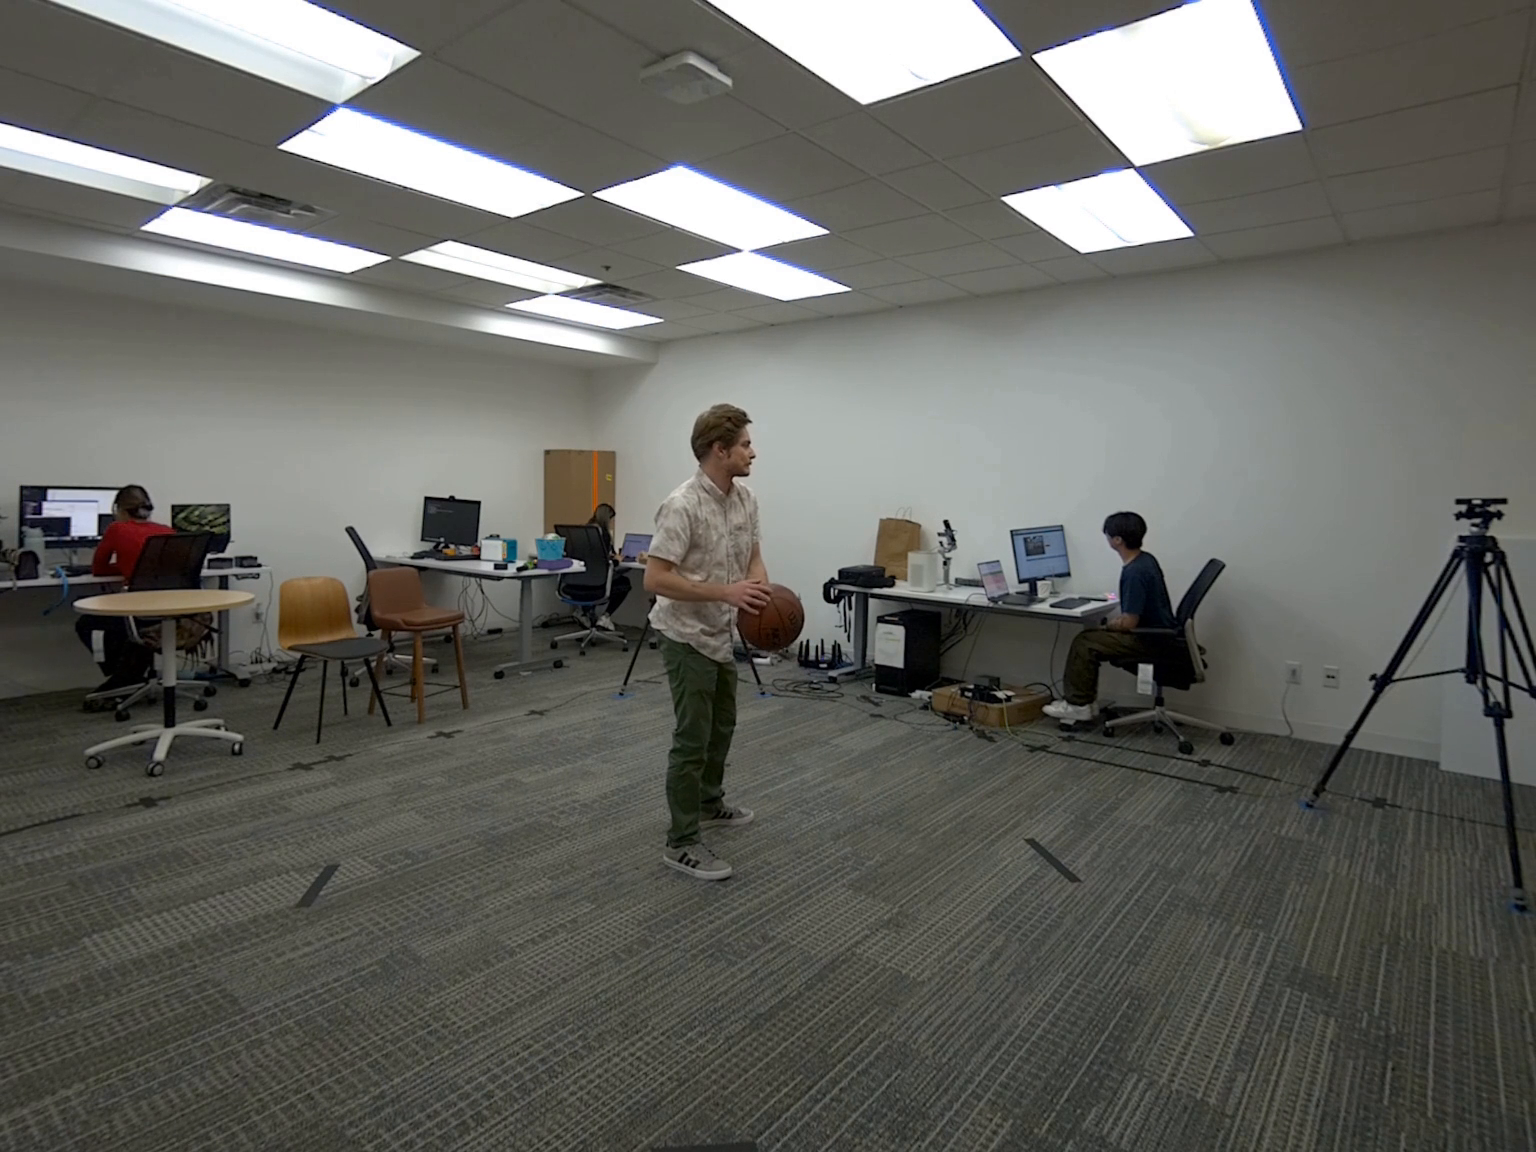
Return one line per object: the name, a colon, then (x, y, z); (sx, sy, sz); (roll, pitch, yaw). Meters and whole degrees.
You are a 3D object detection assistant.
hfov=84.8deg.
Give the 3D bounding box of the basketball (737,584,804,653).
basketball: (-0.007, 0.141, 3.012); (0.236, 0.235, 0.237); (1, 4, -2)
